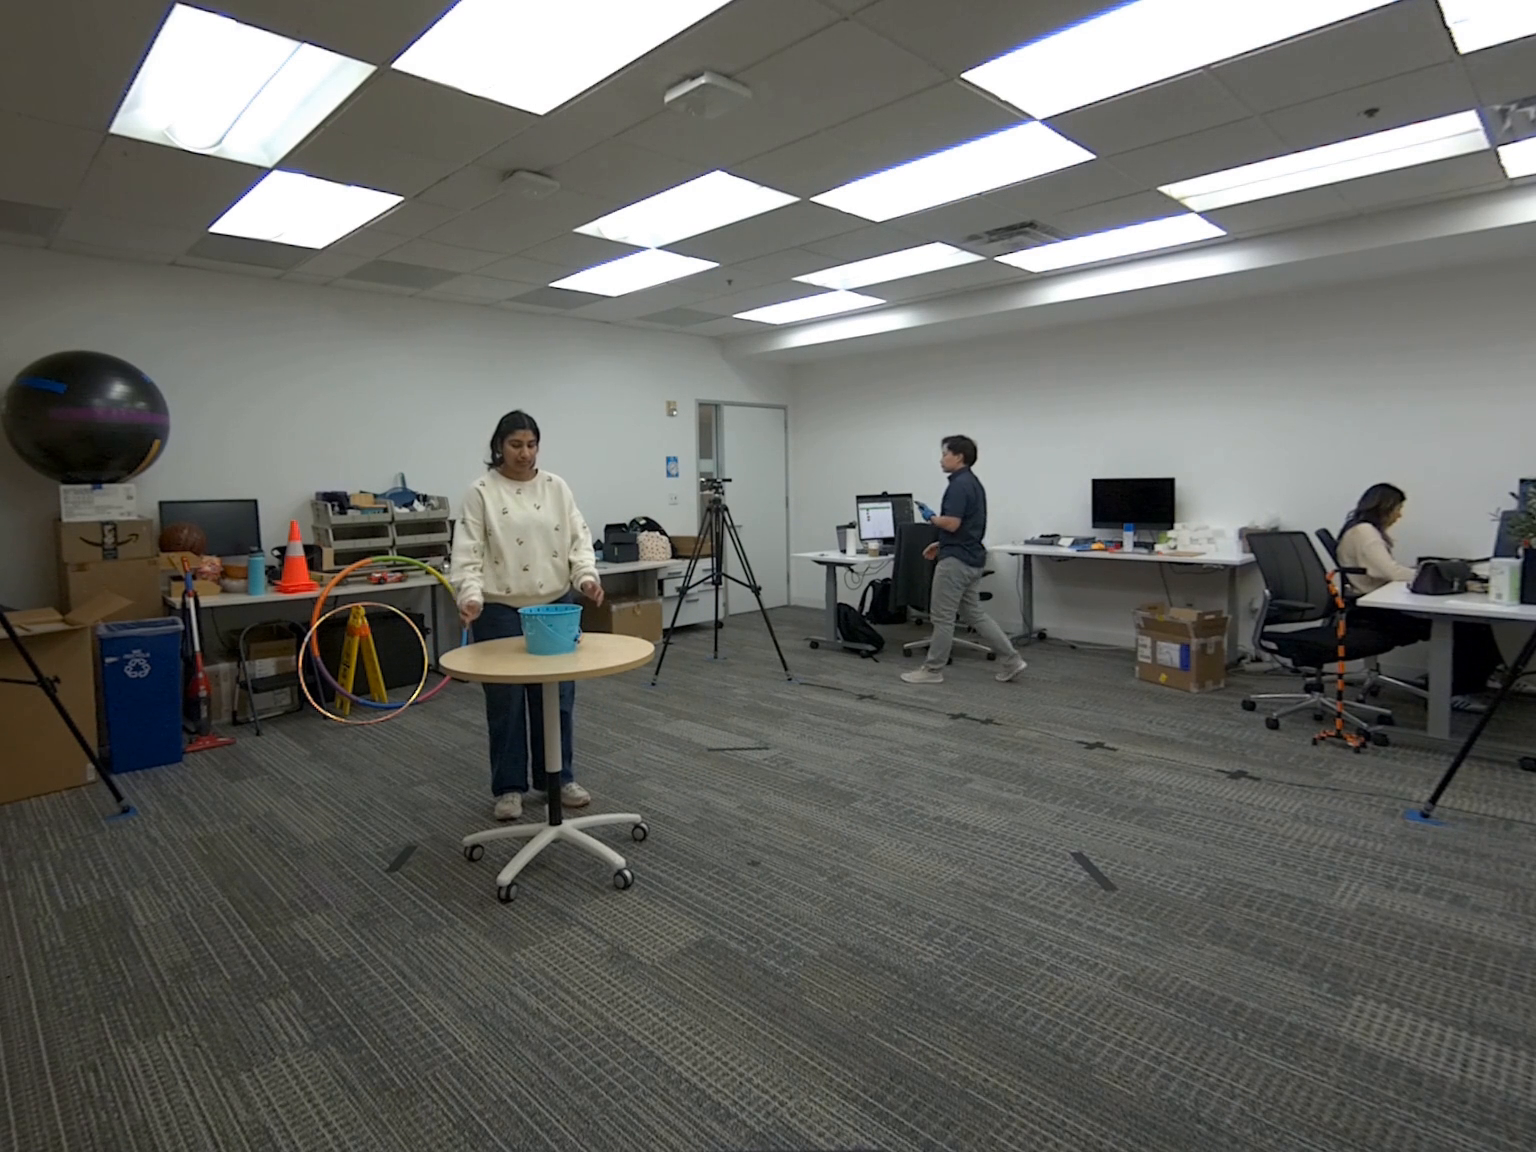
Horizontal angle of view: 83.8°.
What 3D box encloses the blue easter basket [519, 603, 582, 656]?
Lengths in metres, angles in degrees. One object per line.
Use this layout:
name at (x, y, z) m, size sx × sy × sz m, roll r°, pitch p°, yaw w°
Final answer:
blue easter basket at (-0.805, 0.203, 3.139) m, size 0.243 × 0.155 × 0.245 m, roll -3°, pitch 5°, yaw -1°
